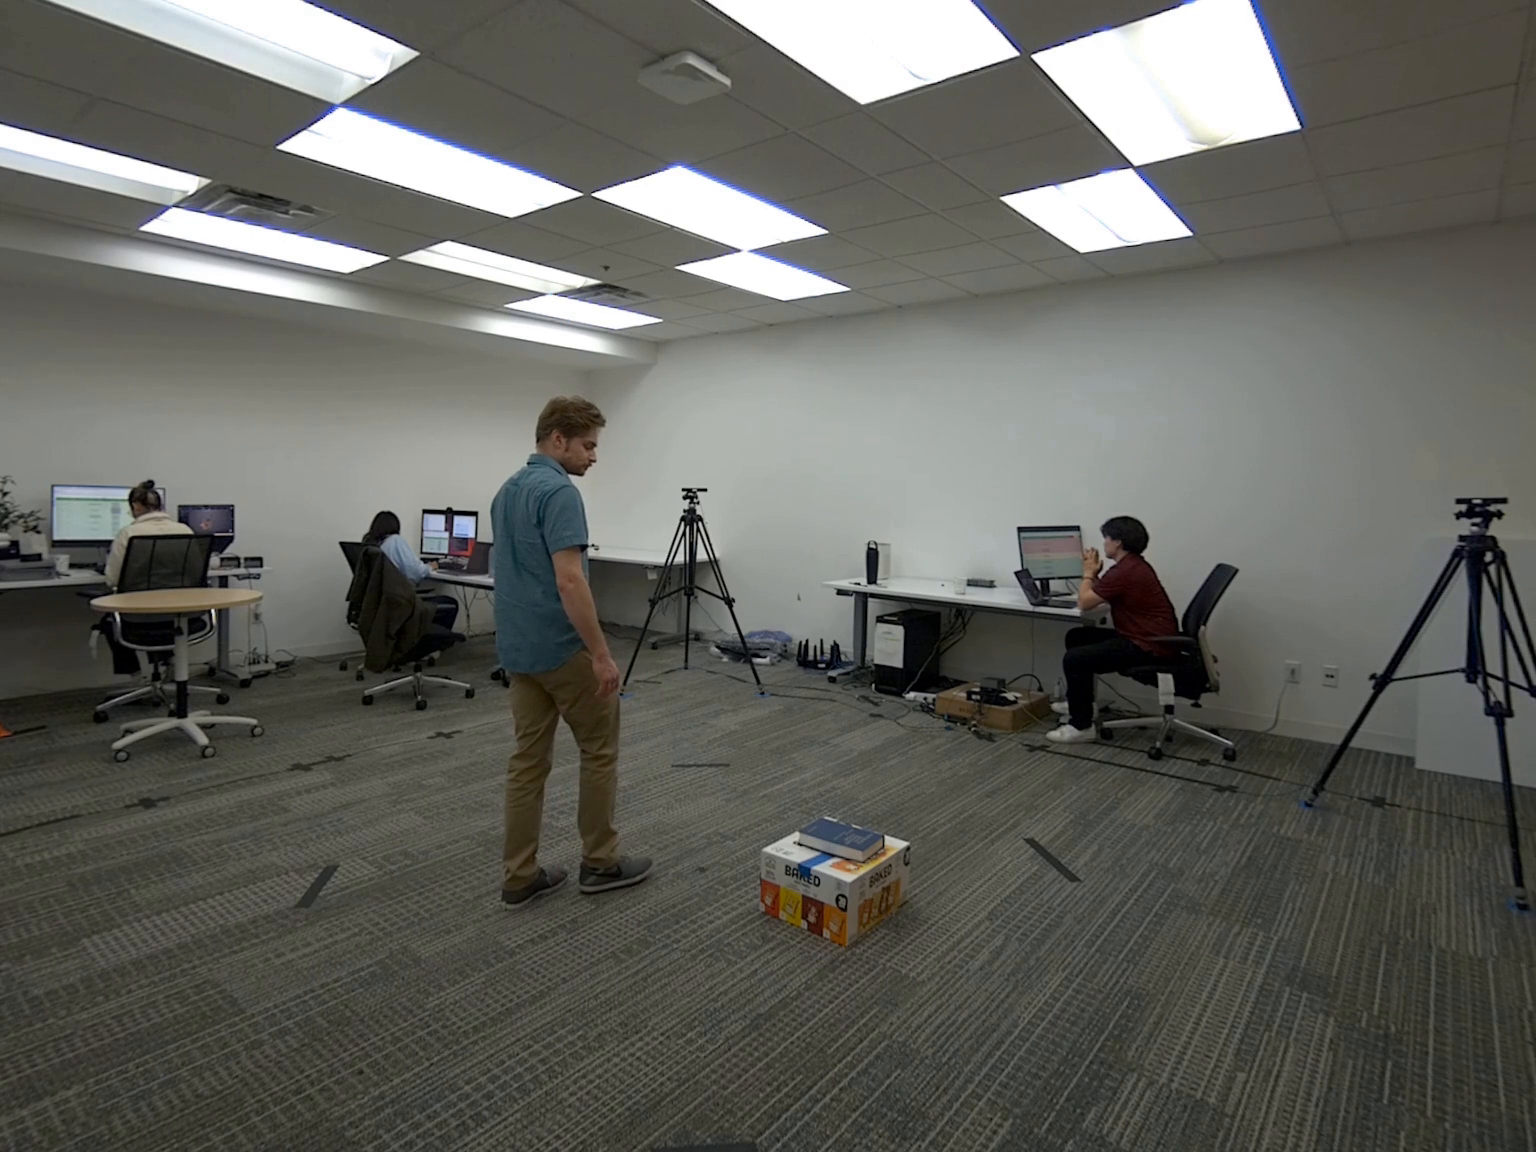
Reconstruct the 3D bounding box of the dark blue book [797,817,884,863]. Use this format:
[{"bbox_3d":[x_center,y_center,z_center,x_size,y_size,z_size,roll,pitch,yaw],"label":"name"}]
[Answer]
[{"bbox_3d":[0.251,0.891,2.868,0.253,0.045,0.159,5,7,34],"label":"dark blue book"}]
